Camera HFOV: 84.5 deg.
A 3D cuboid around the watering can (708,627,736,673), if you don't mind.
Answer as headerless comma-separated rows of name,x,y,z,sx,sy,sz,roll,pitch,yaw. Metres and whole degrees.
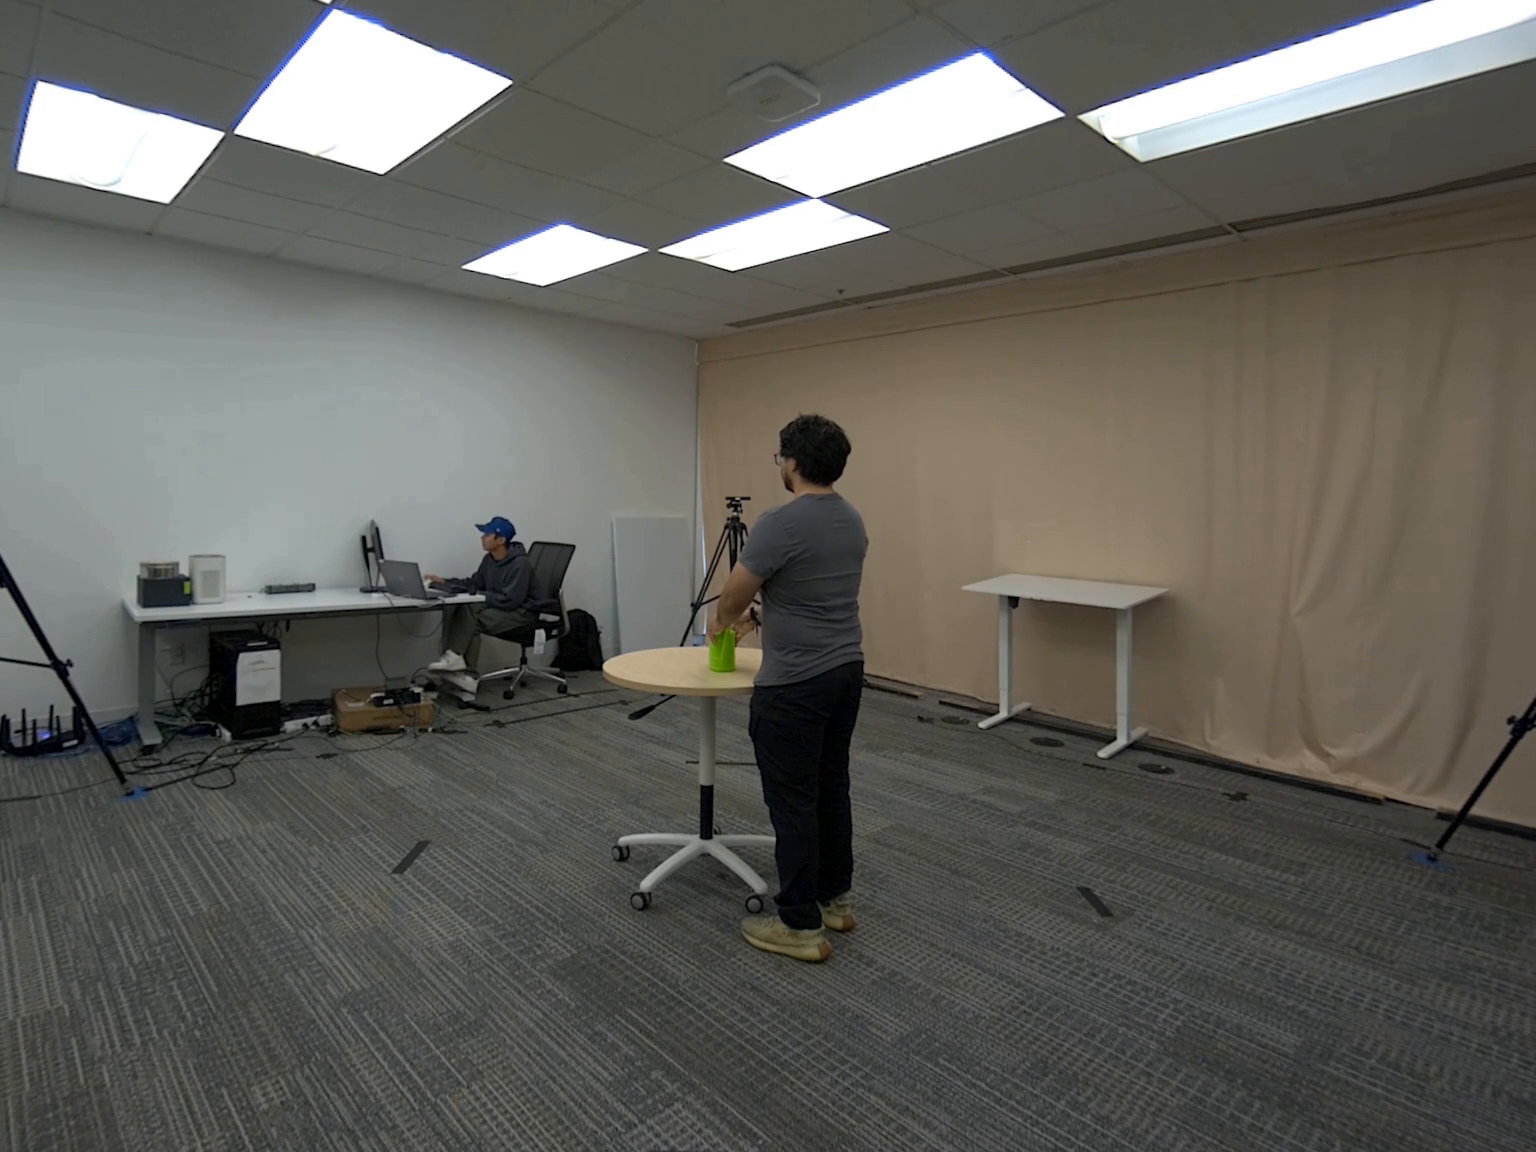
watering can,-0.173,0.255,2.953,0.098,0.176,0.278,2,5,4
